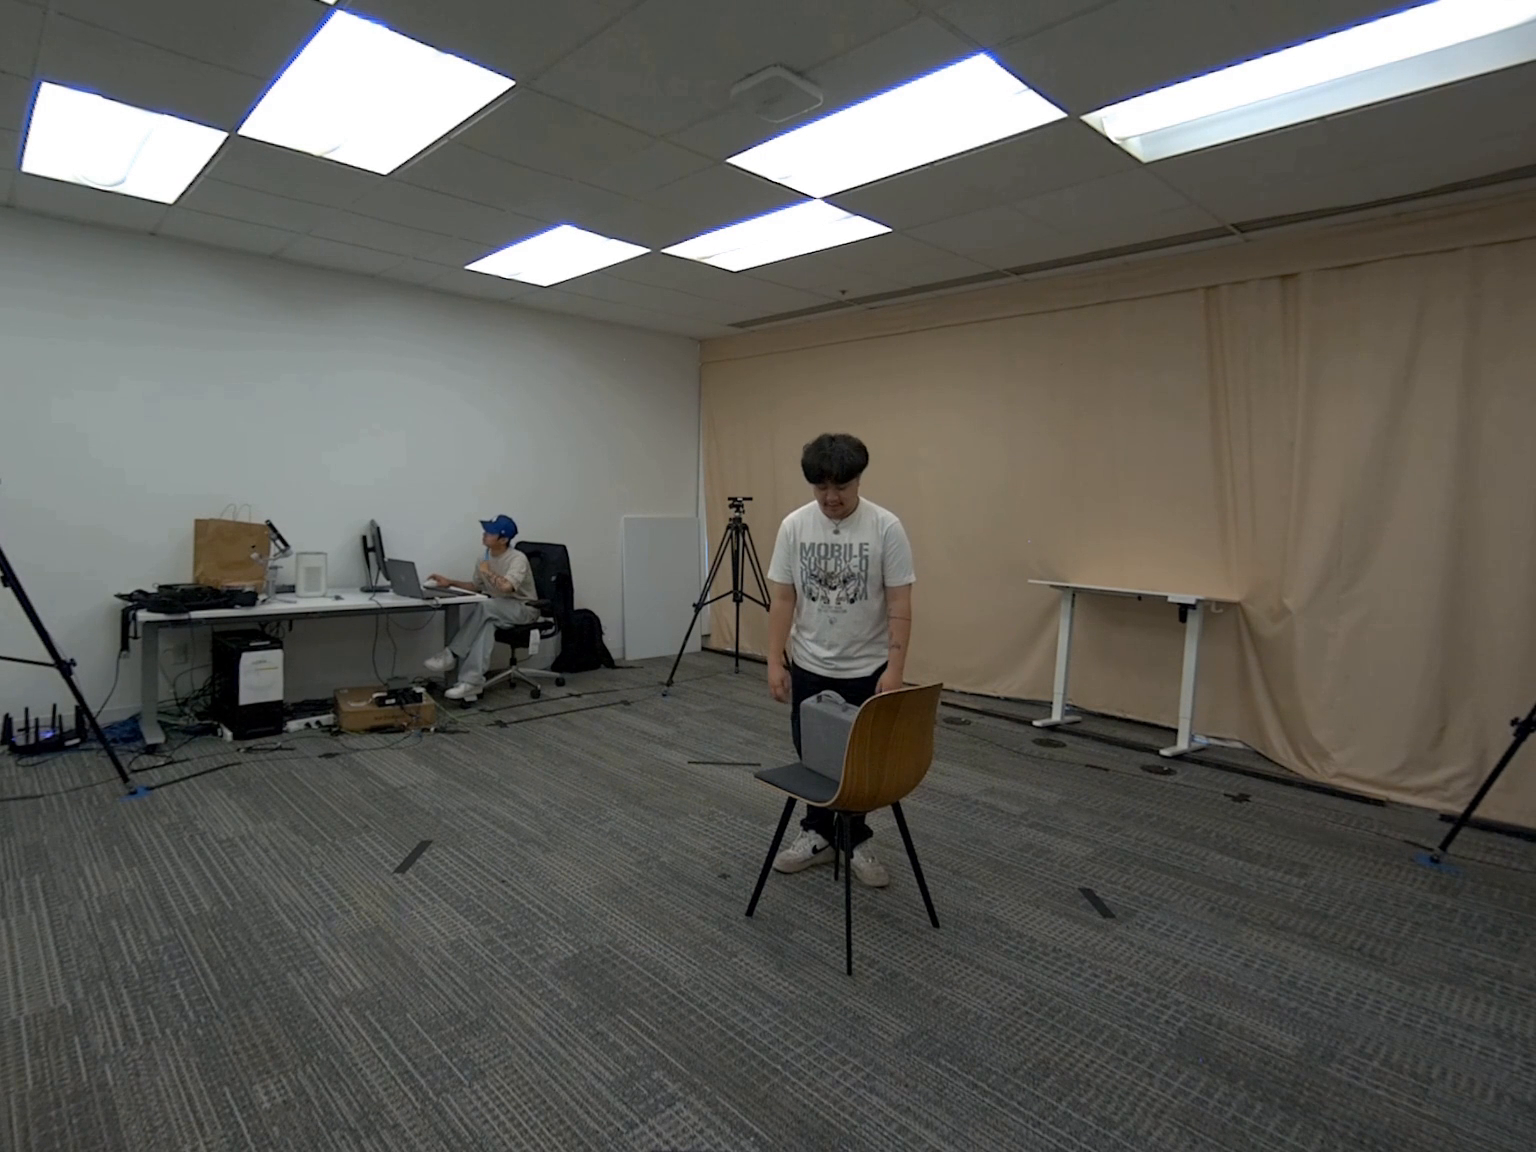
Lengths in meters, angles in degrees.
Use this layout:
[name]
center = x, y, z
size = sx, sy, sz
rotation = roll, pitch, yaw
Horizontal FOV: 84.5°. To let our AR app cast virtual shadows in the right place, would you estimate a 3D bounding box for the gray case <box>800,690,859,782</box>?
[gray case]
center = 0.221, 0.542, 2.782
size = 0.102, 0.258, 0.264
rotation = -14, 17, -39
